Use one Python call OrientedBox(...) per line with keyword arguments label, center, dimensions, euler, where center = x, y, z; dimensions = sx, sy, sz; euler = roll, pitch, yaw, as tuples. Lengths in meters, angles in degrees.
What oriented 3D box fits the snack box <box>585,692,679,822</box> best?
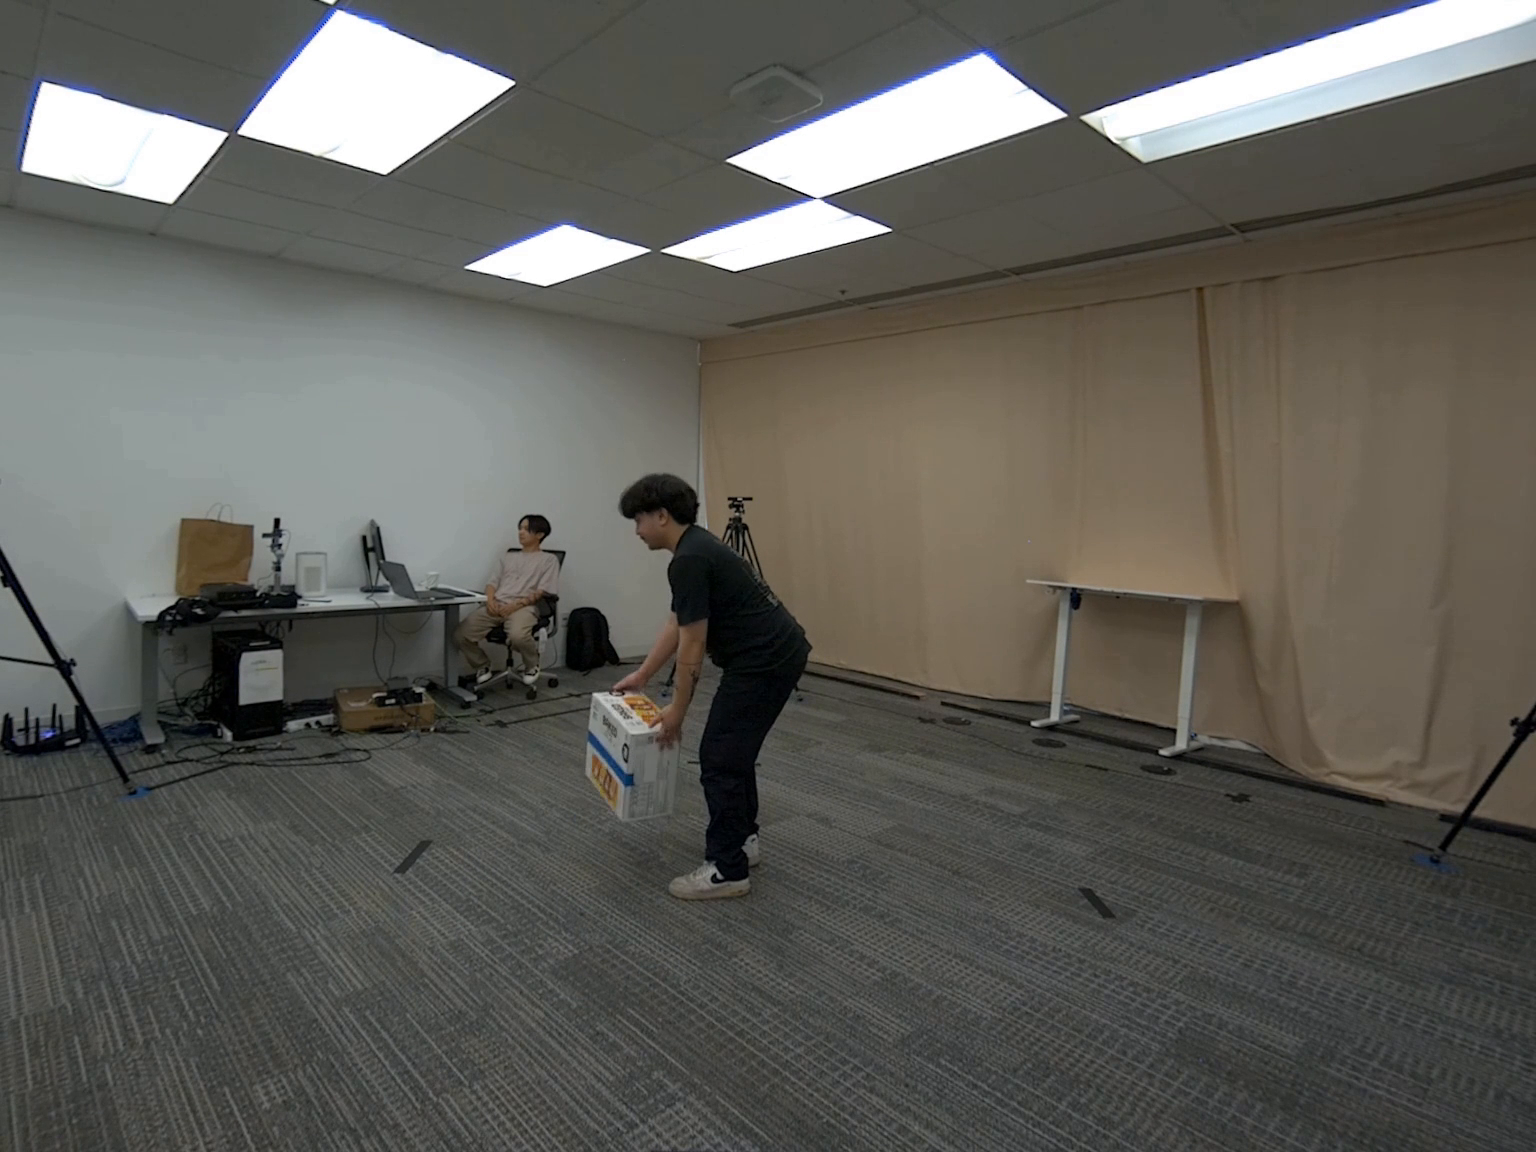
OrientedBox(label="snack box", center=(-0.526, 0.670, 3.196), dimensions=(0.201, 0.338, 0.416), euler=(-1, 13, -31))
